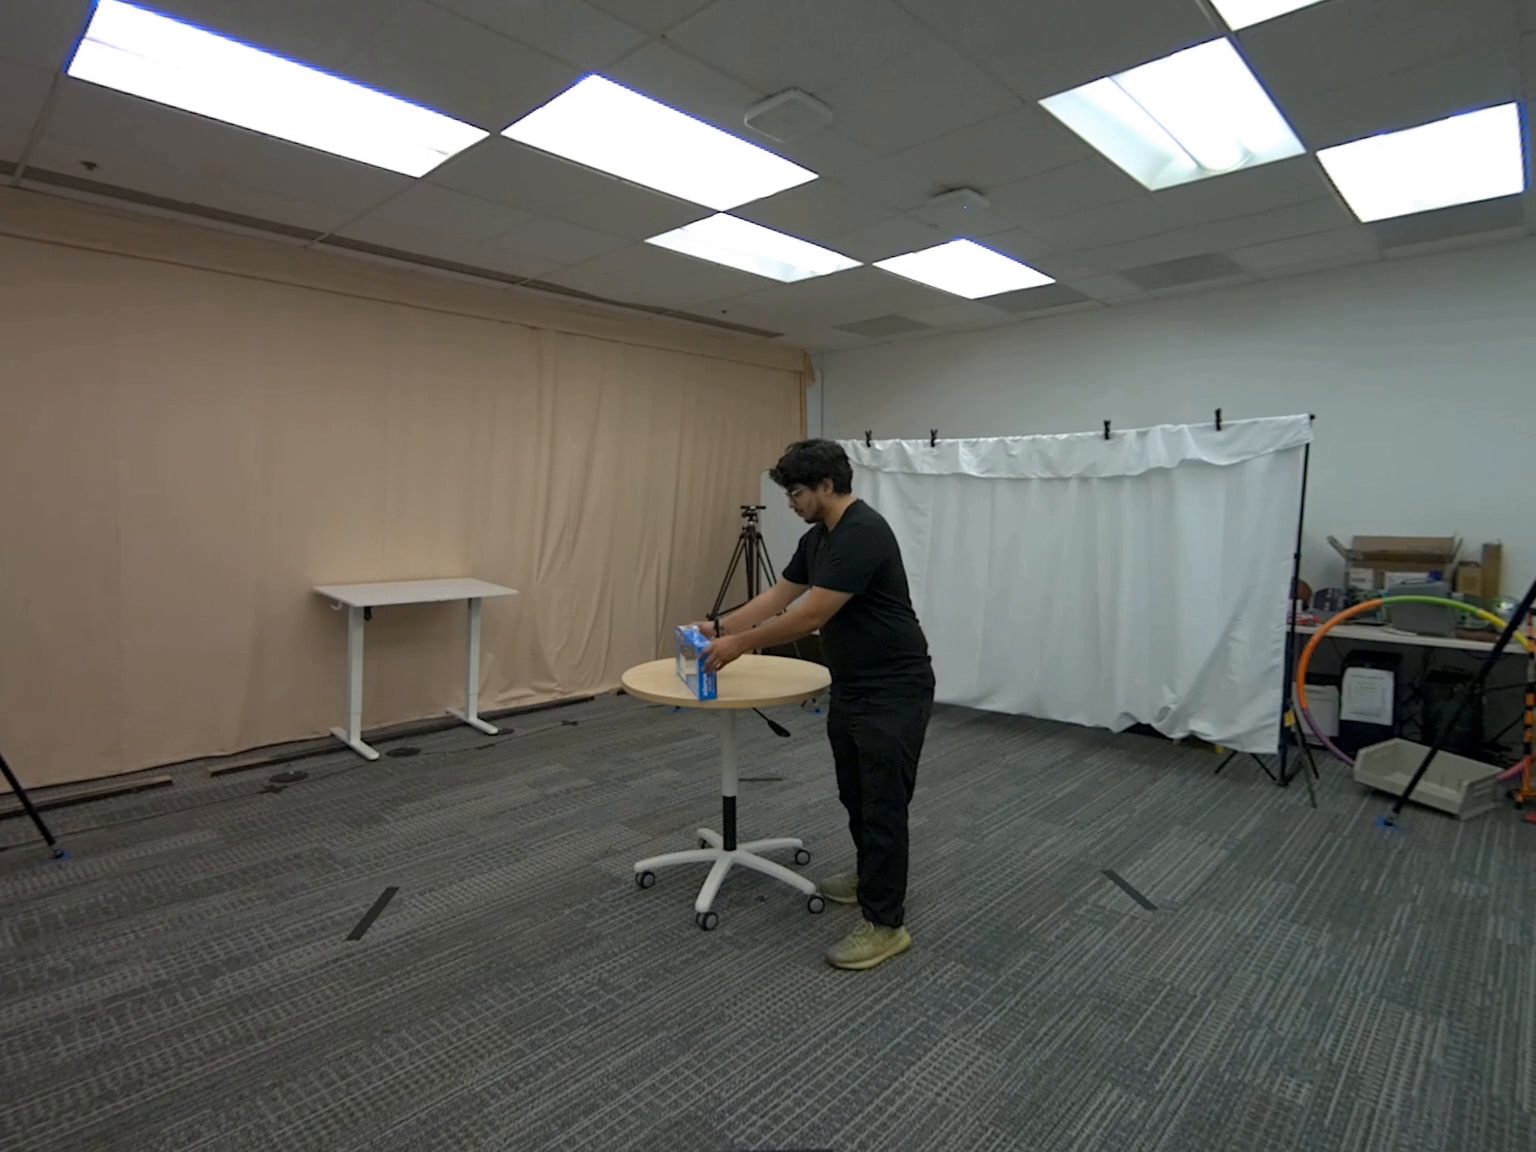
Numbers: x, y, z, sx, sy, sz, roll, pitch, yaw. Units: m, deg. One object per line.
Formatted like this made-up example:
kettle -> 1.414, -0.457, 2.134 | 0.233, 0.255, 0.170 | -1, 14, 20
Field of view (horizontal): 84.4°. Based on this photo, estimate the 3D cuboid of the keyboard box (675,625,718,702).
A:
keyboard box -> -0.245, 0.291, 2.868 | 0.058, 0.175, 0.444 | -3, 5, -15
